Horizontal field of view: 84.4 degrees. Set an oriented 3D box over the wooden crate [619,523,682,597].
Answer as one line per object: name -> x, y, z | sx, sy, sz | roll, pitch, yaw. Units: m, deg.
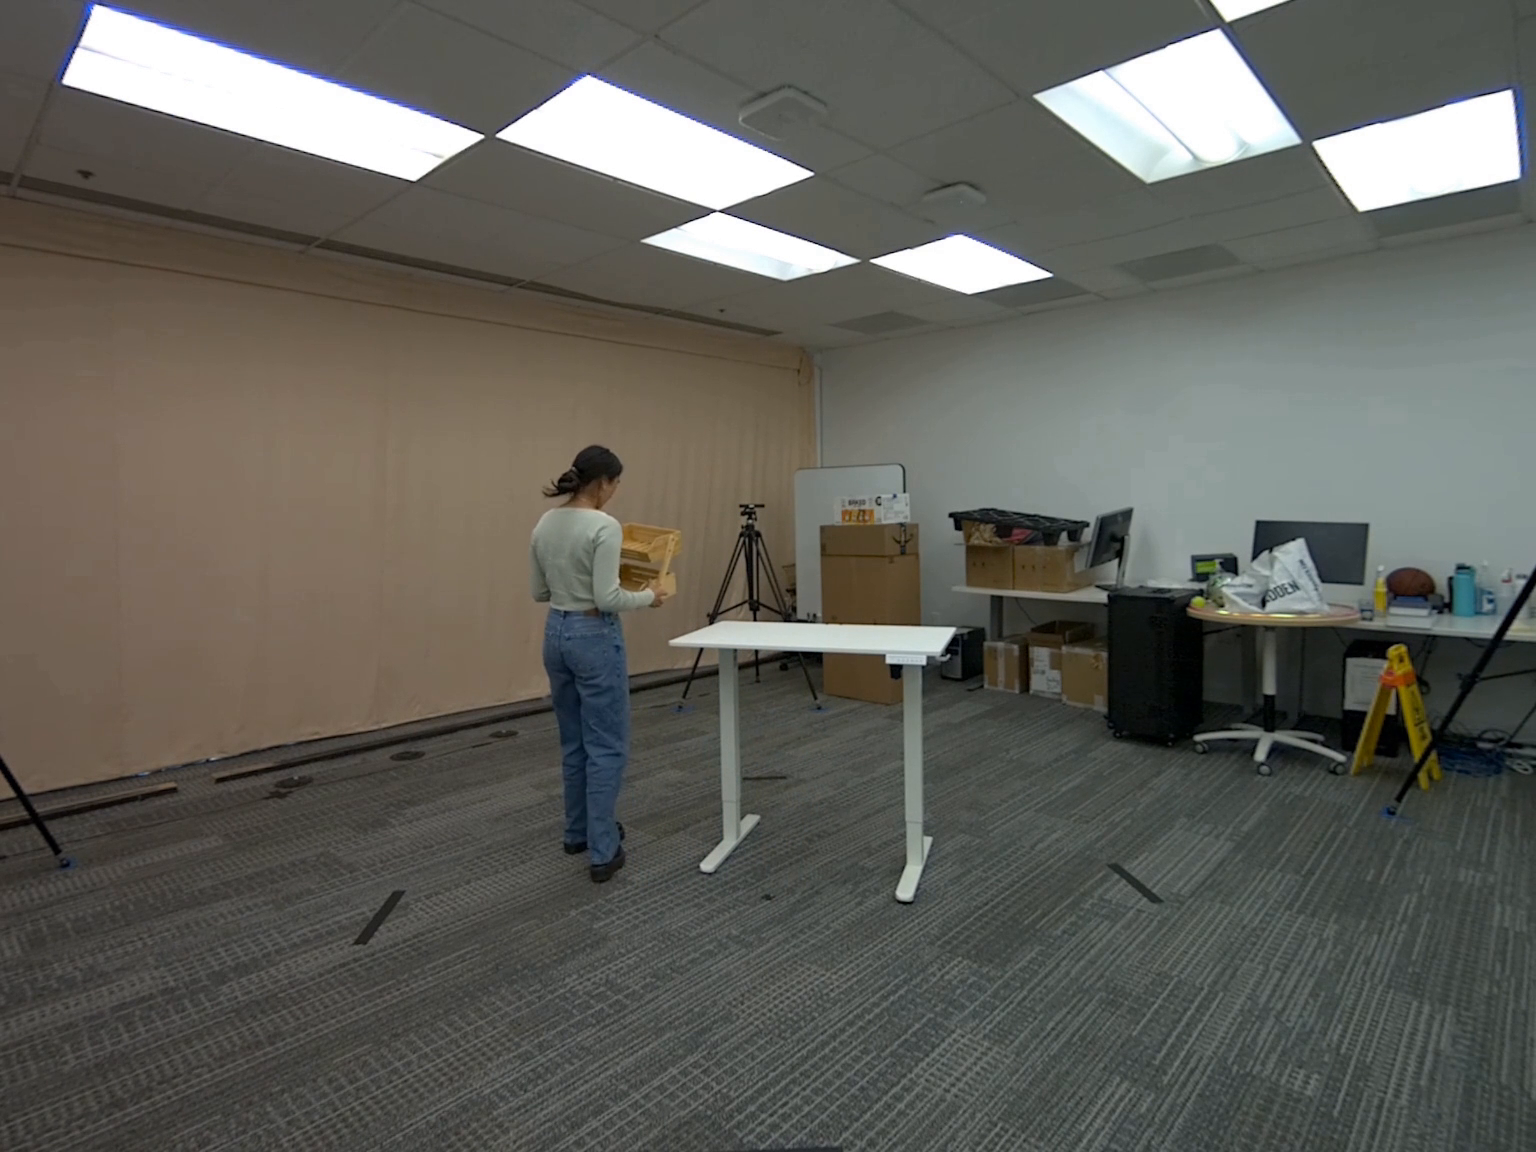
wooden crate -> -0.570, -0.050, 3.522 | 0.335, 0.270, 0.295 | 10, 19, 36
